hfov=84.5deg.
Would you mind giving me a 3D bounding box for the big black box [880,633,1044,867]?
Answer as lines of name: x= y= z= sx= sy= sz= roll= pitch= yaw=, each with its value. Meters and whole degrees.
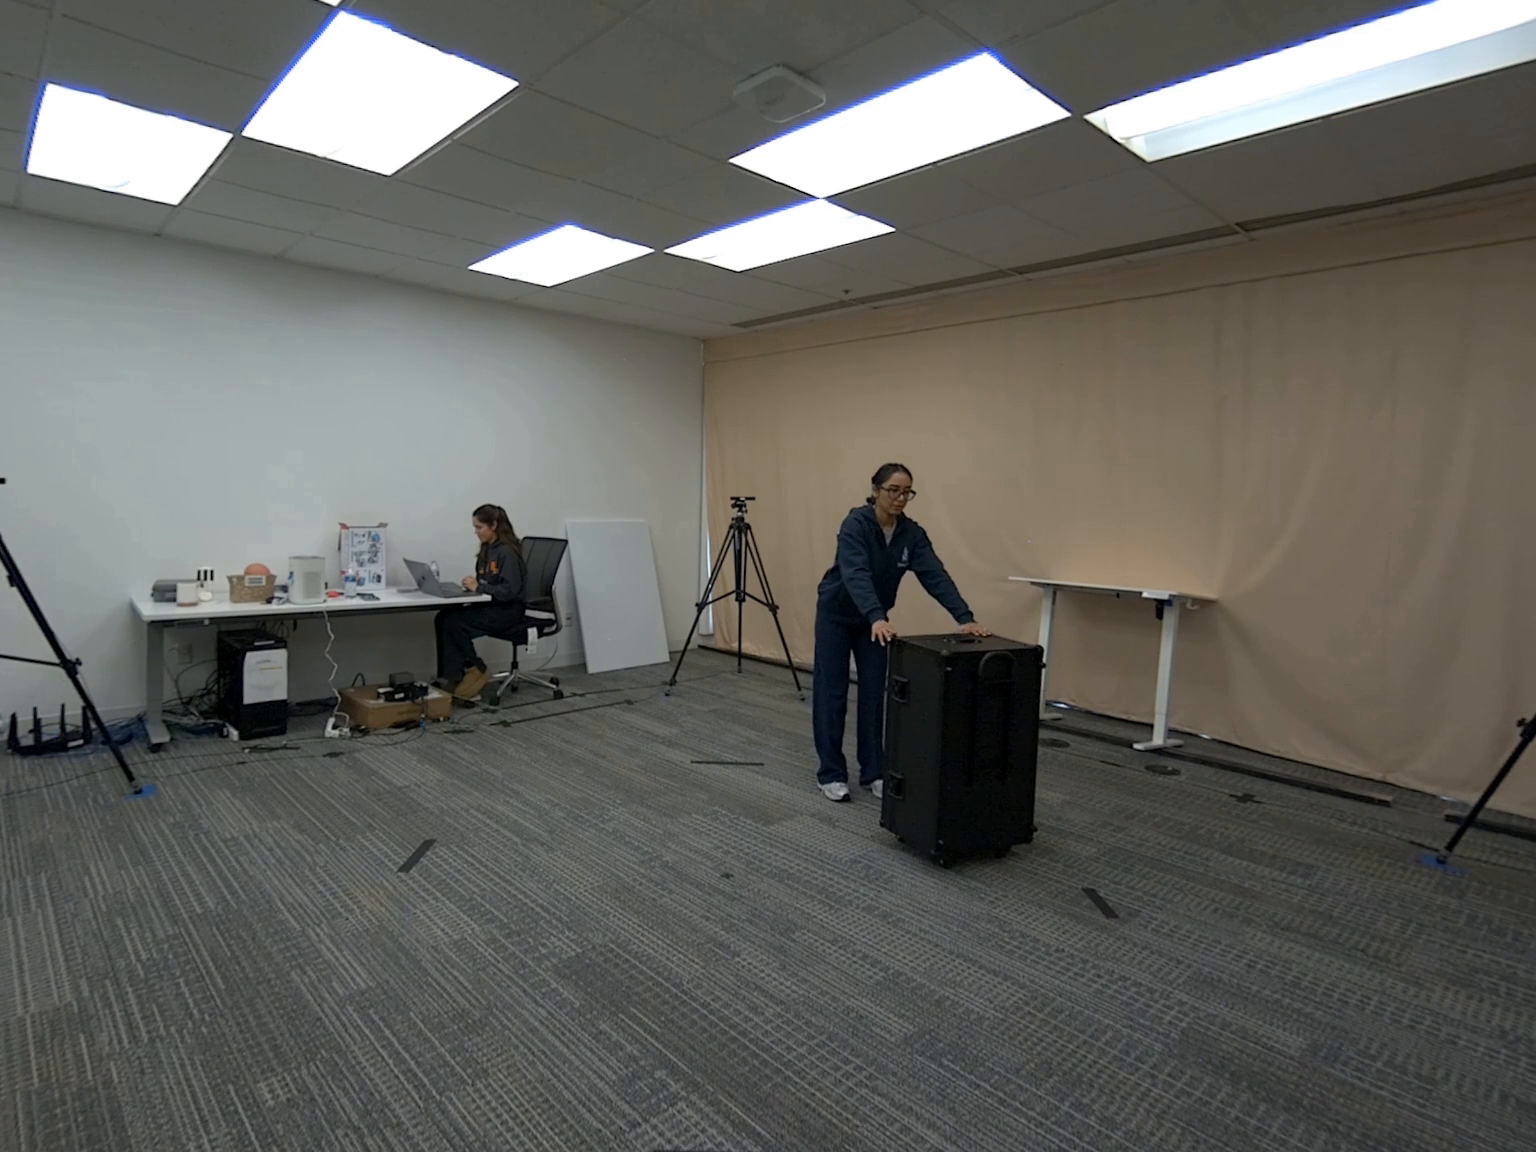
big black box: x=0.761 y=0.681 z=3.368 sx=0.511 sy=0.859 sz=0.405 roll=-1 pitch=5 yaw=-27
